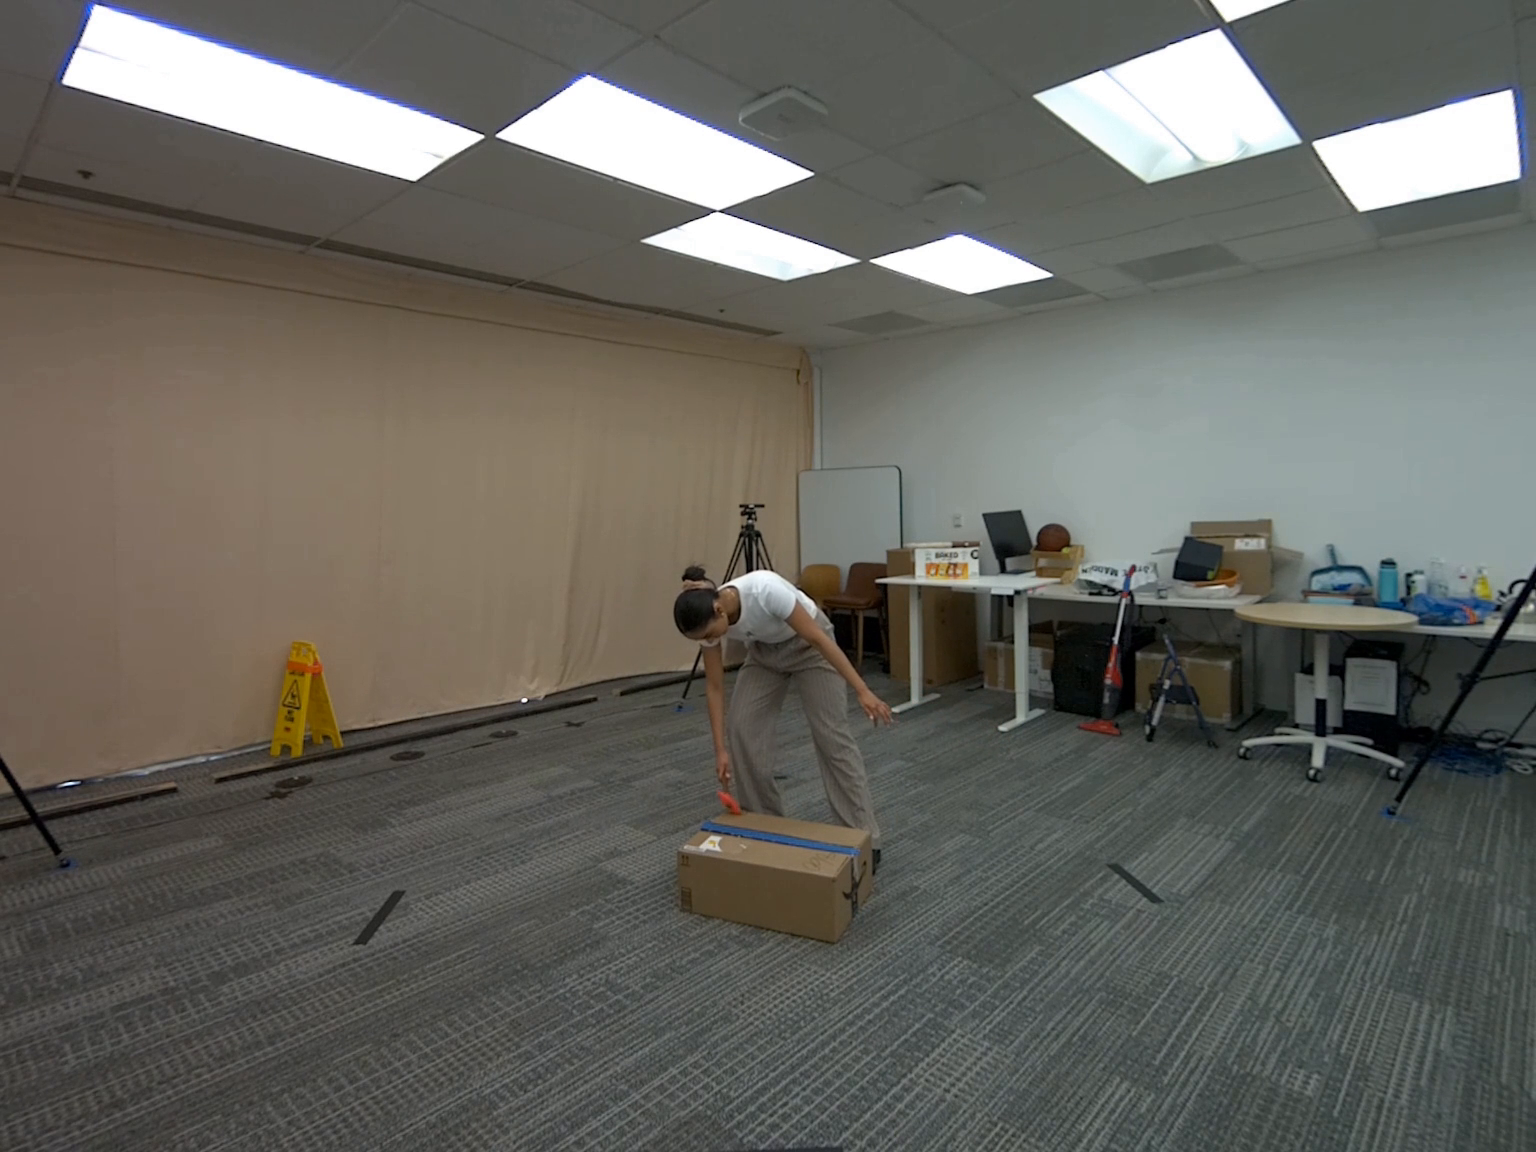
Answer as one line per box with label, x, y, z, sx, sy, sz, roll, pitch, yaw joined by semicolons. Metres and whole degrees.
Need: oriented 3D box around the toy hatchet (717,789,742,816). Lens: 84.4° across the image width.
toy hatchet;-0.141;0.846;3.283;0.029;0.131;0.269;-41;0;4
